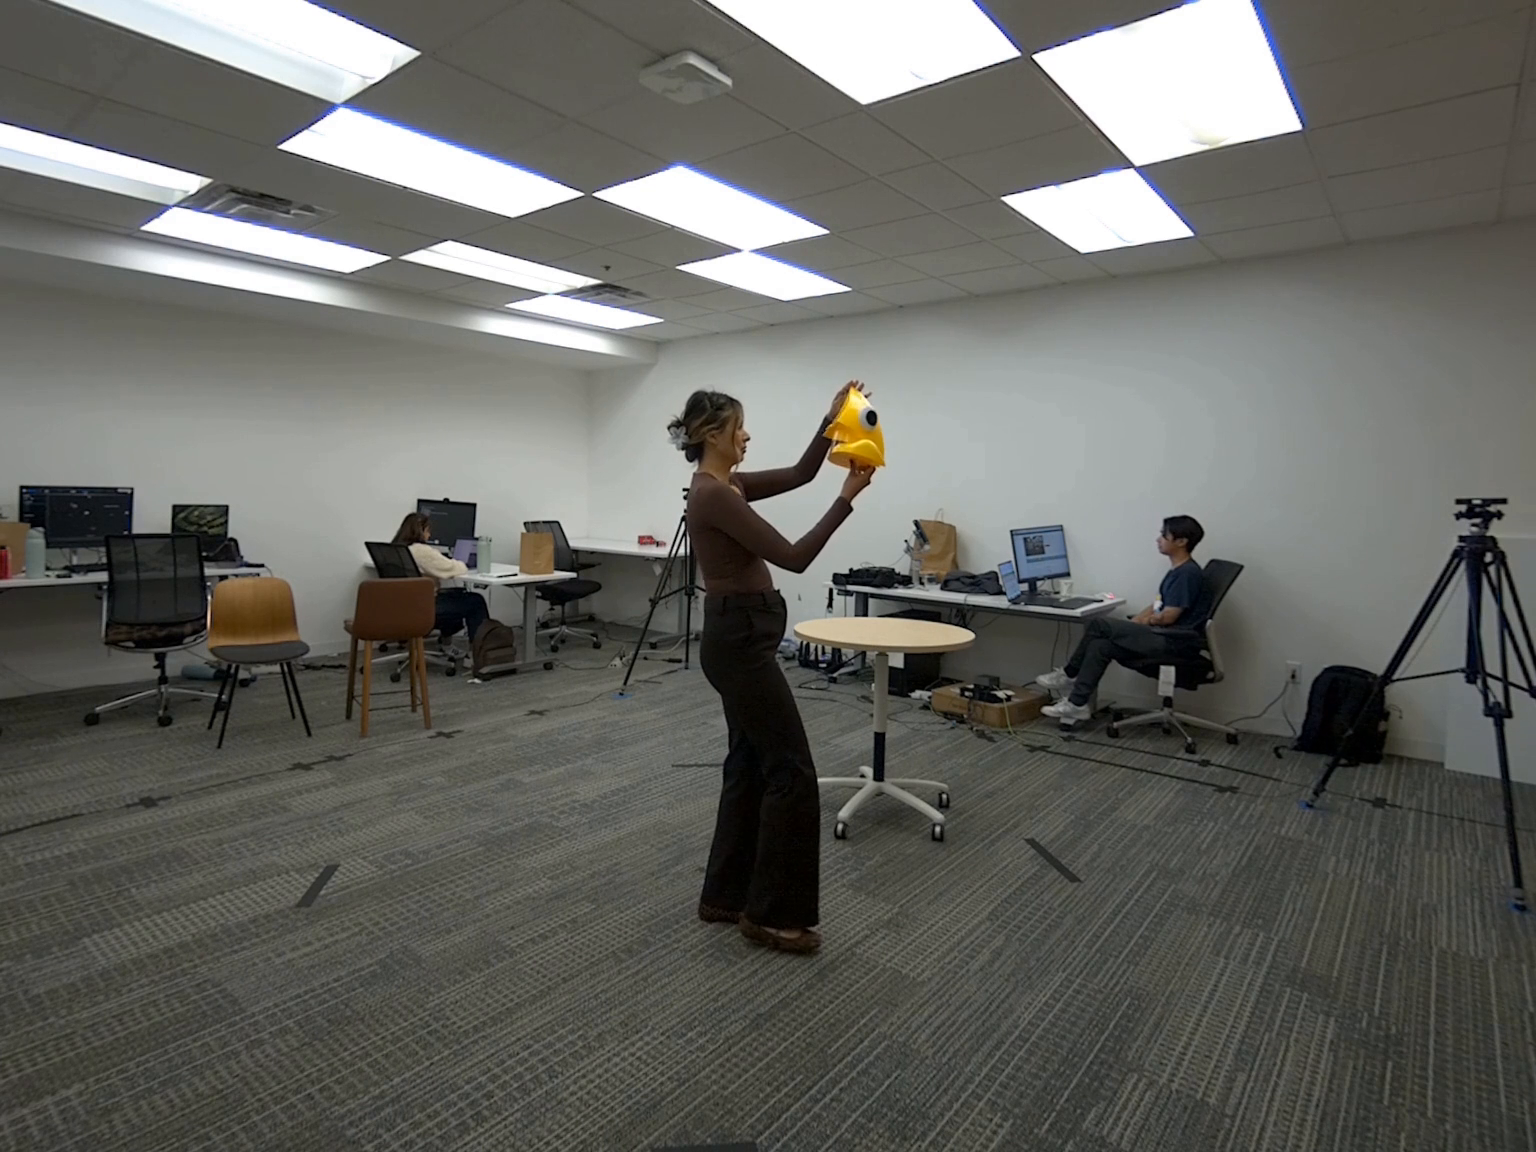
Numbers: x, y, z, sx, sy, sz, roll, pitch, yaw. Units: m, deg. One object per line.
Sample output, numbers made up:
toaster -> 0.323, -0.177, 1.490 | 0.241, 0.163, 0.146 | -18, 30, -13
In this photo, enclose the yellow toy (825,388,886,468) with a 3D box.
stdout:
yellow toy -> 0.275, -0.458, 2.597 | 0.192, 0.231, 0.205 | 16, -6, -6
